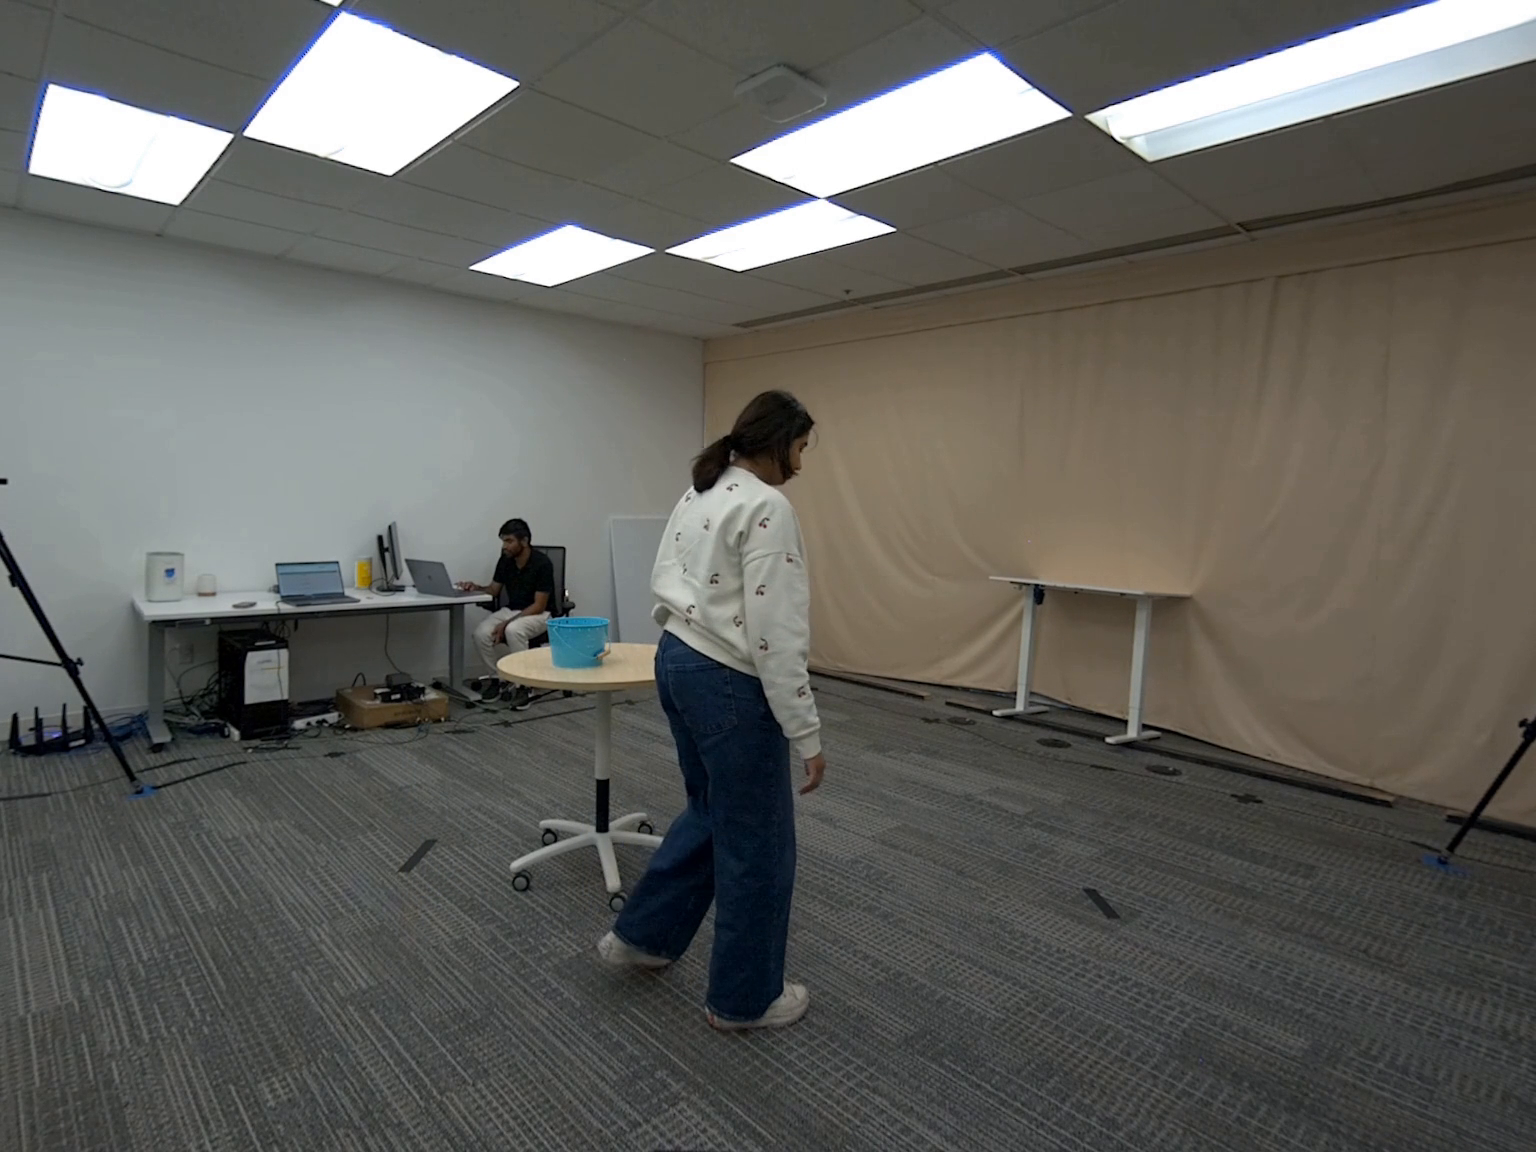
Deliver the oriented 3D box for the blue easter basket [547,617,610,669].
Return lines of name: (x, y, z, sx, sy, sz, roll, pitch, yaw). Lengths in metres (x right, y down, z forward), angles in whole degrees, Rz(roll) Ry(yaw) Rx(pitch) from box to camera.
blue easter basket: (-0.704, 0.248, 3.041, 0.243, 0.155, 0.244, 0, 4, -1)
